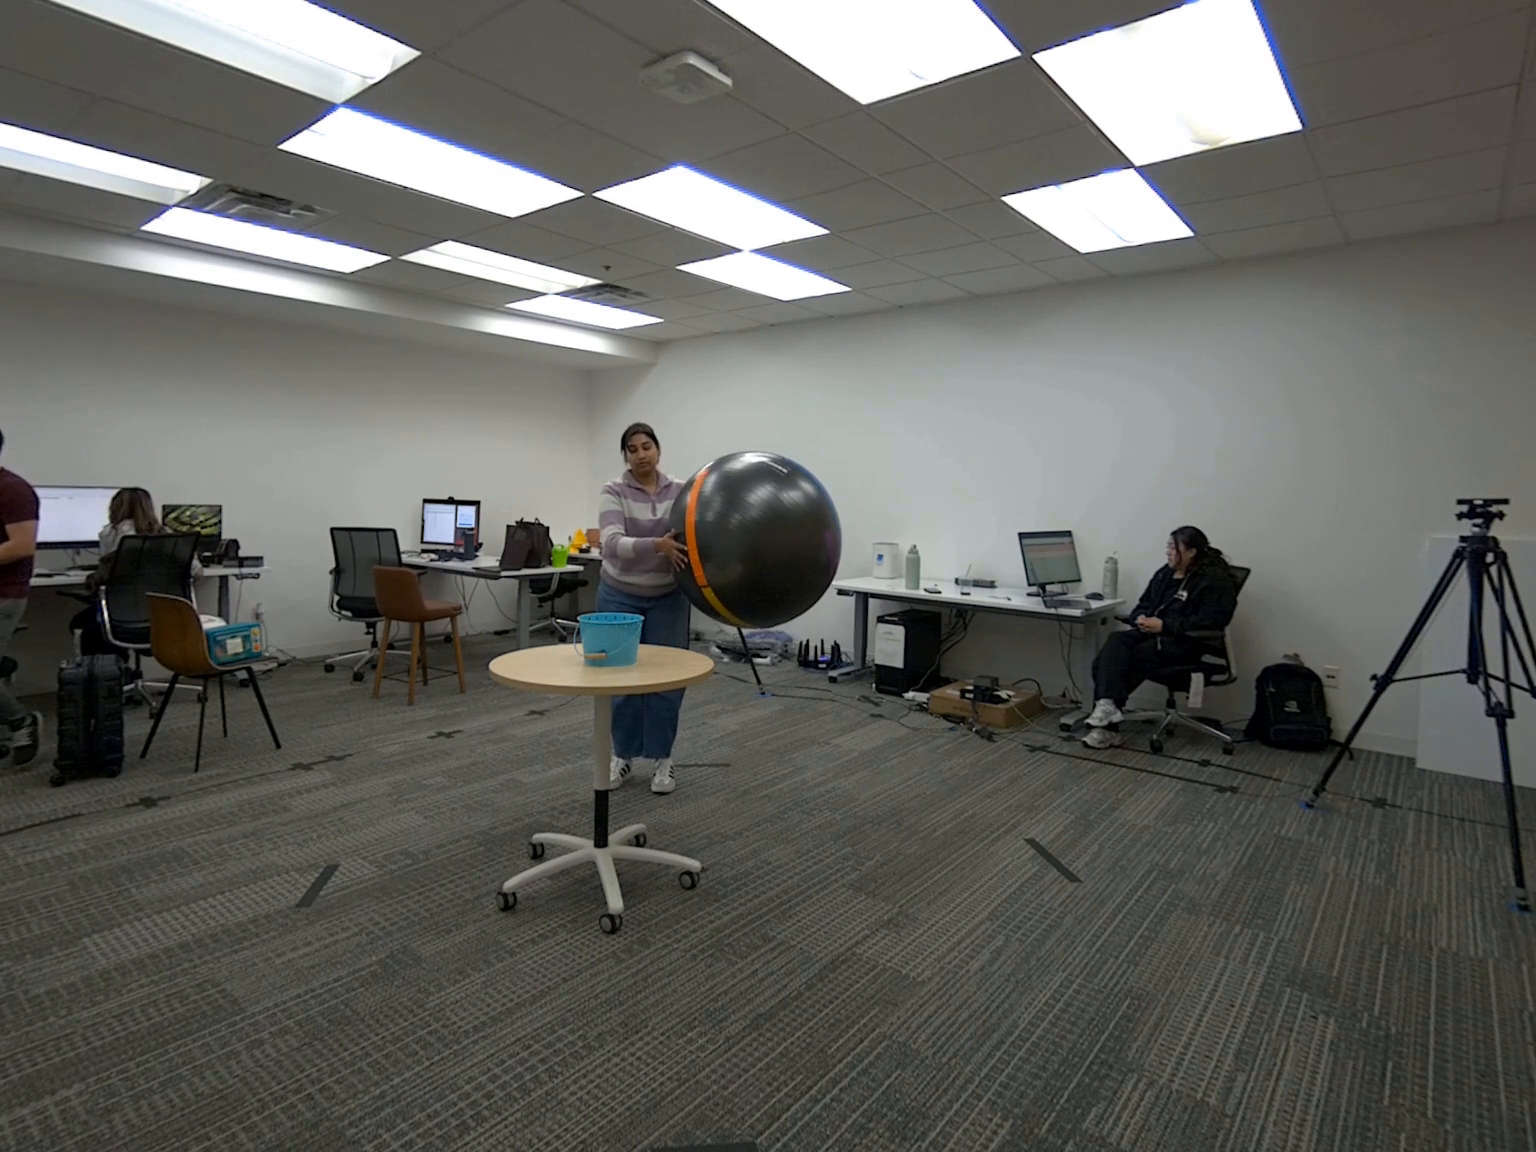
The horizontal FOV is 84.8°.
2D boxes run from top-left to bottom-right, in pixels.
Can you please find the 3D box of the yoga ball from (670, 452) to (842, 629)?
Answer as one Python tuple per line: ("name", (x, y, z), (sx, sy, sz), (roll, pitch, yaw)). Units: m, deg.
("yoga ball", (-0.073, -0.150, 3.661), (0.757, 0.755, 0.762), (1, 4, -2))
